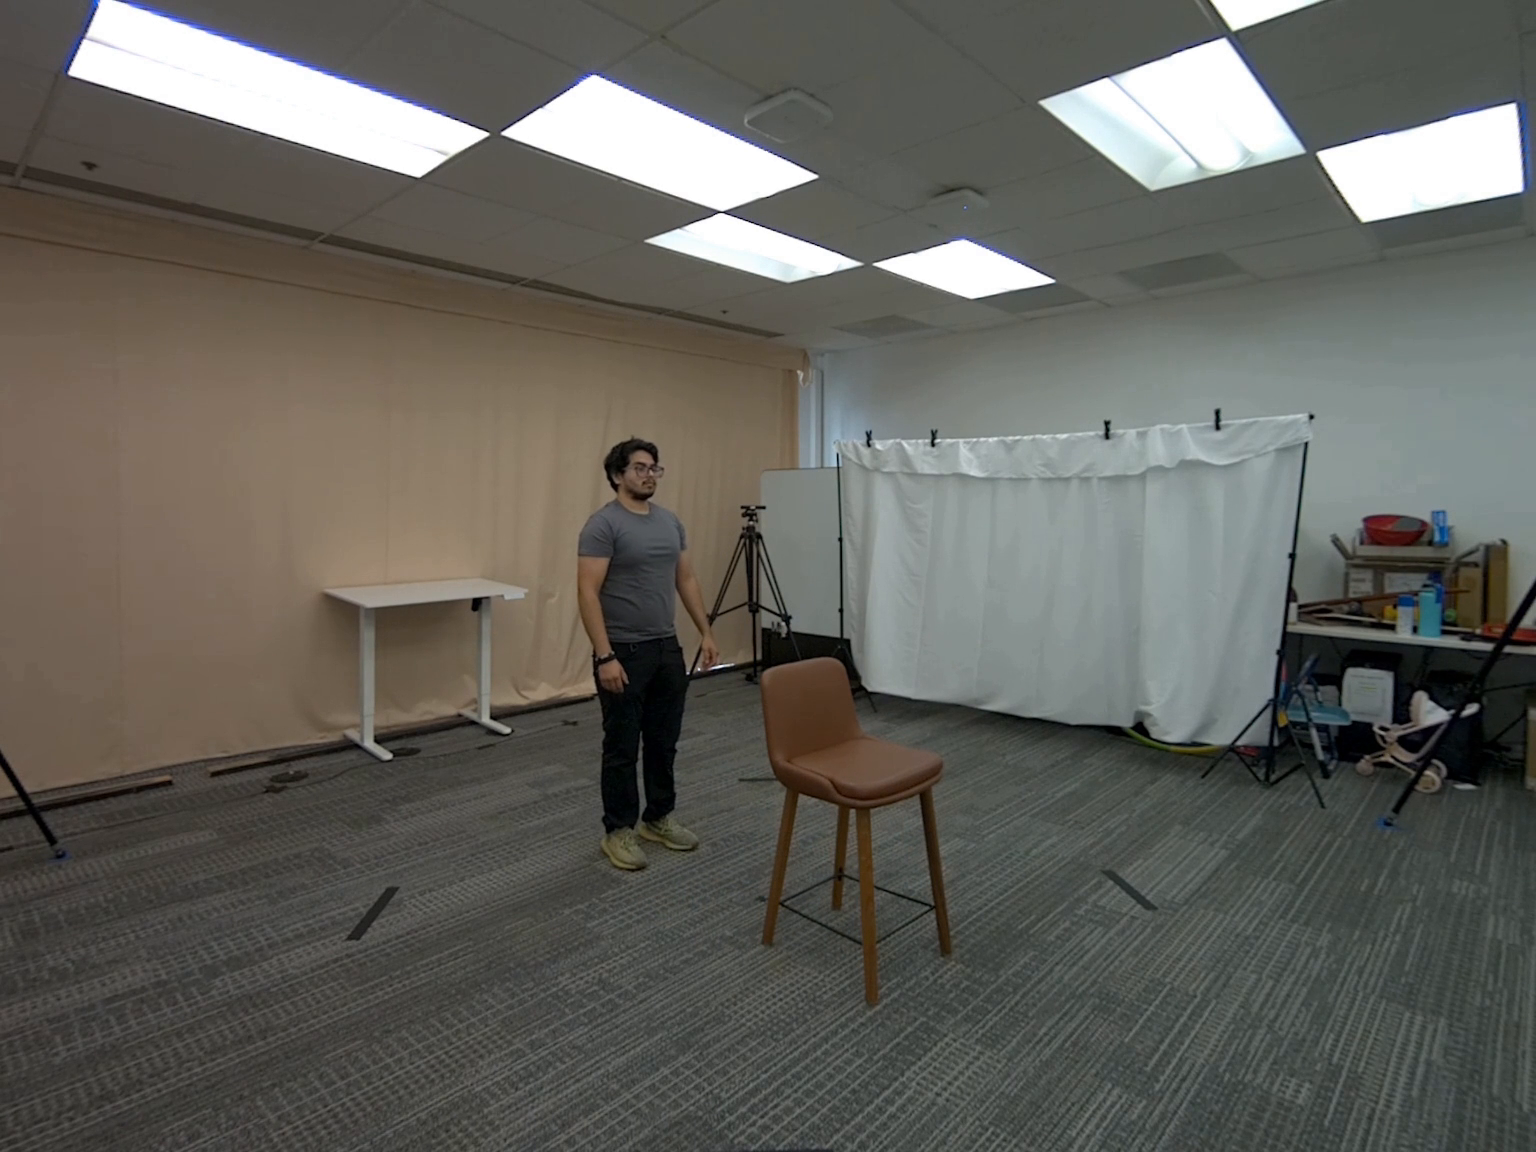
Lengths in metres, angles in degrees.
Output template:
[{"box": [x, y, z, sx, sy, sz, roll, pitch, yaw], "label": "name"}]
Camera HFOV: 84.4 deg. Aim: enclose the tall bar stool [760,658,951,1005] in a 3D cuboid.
[{"box": [0.270, 0.740, 2.621, 0.442, 0.888, 0.483, -4, 3, -44], "label": "tall bar stool"}]
